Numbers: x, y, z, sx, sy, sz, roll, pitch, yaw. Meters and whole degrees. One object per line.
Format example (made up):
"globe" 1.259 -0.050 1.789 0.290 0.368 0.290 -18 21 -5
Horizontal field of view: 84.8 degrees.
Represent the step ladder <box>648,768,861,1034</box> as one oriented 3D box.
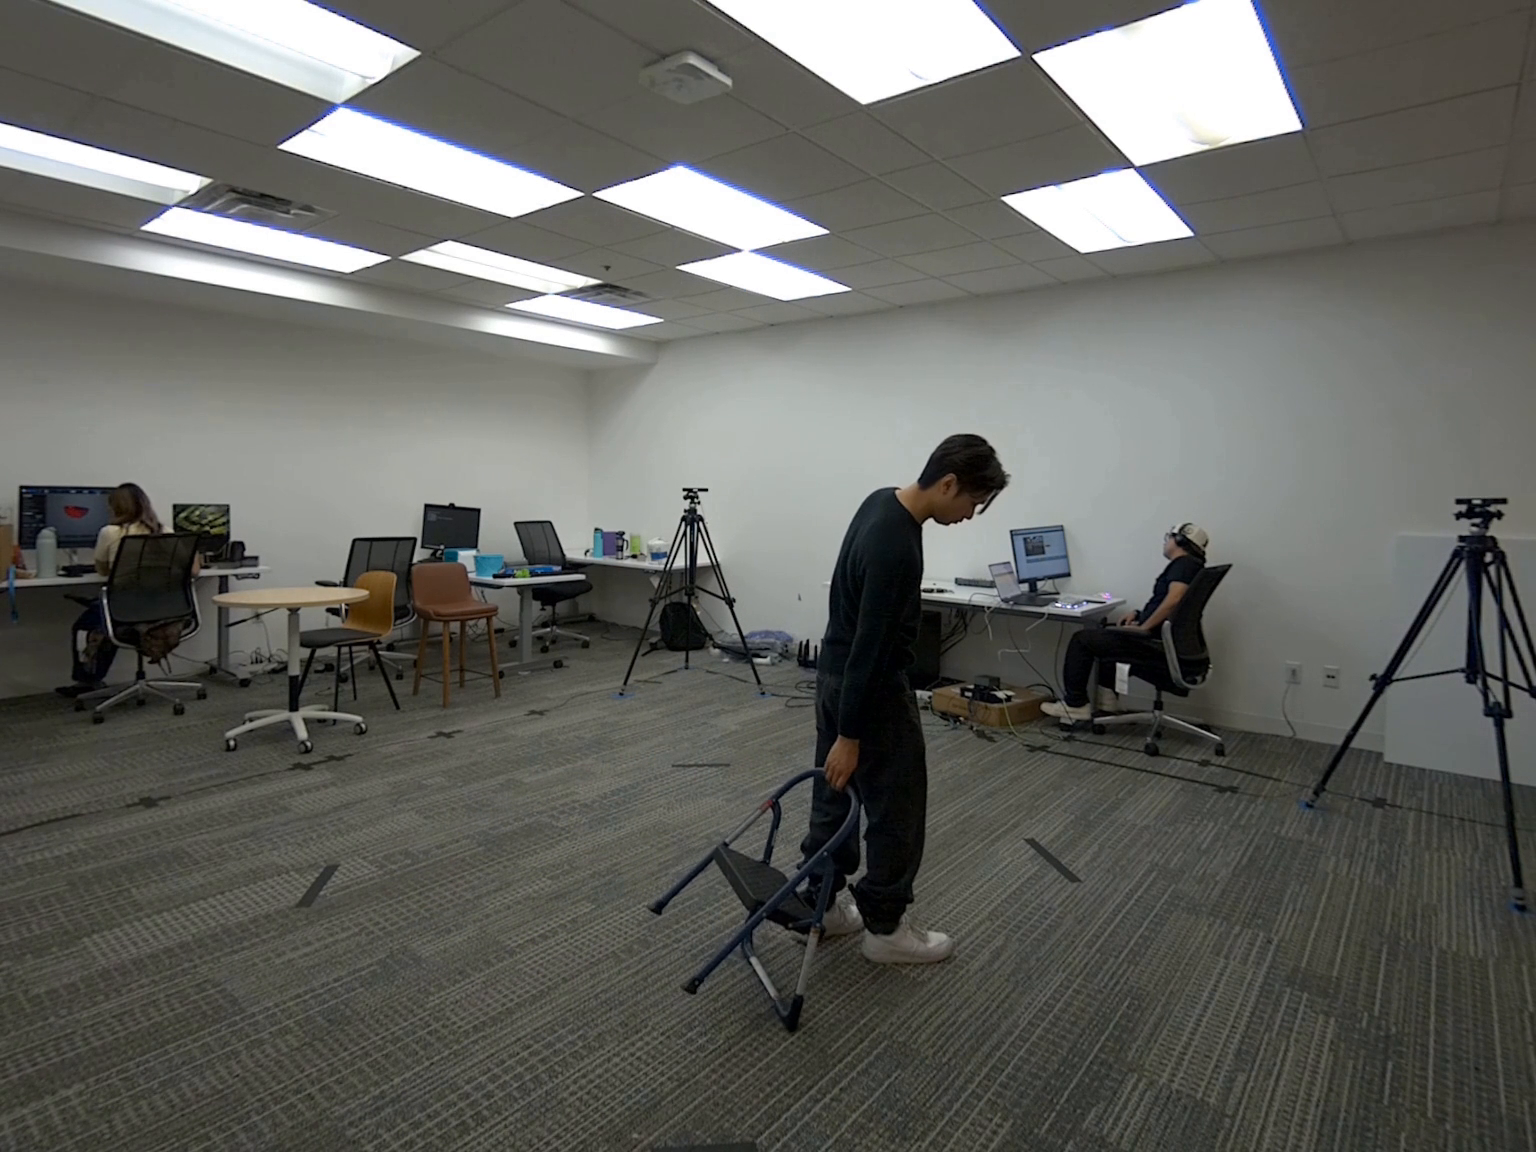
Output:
"step ladder" -0.001 0.810 2.353 0.341 0.607 0.440 30 -5 -19
